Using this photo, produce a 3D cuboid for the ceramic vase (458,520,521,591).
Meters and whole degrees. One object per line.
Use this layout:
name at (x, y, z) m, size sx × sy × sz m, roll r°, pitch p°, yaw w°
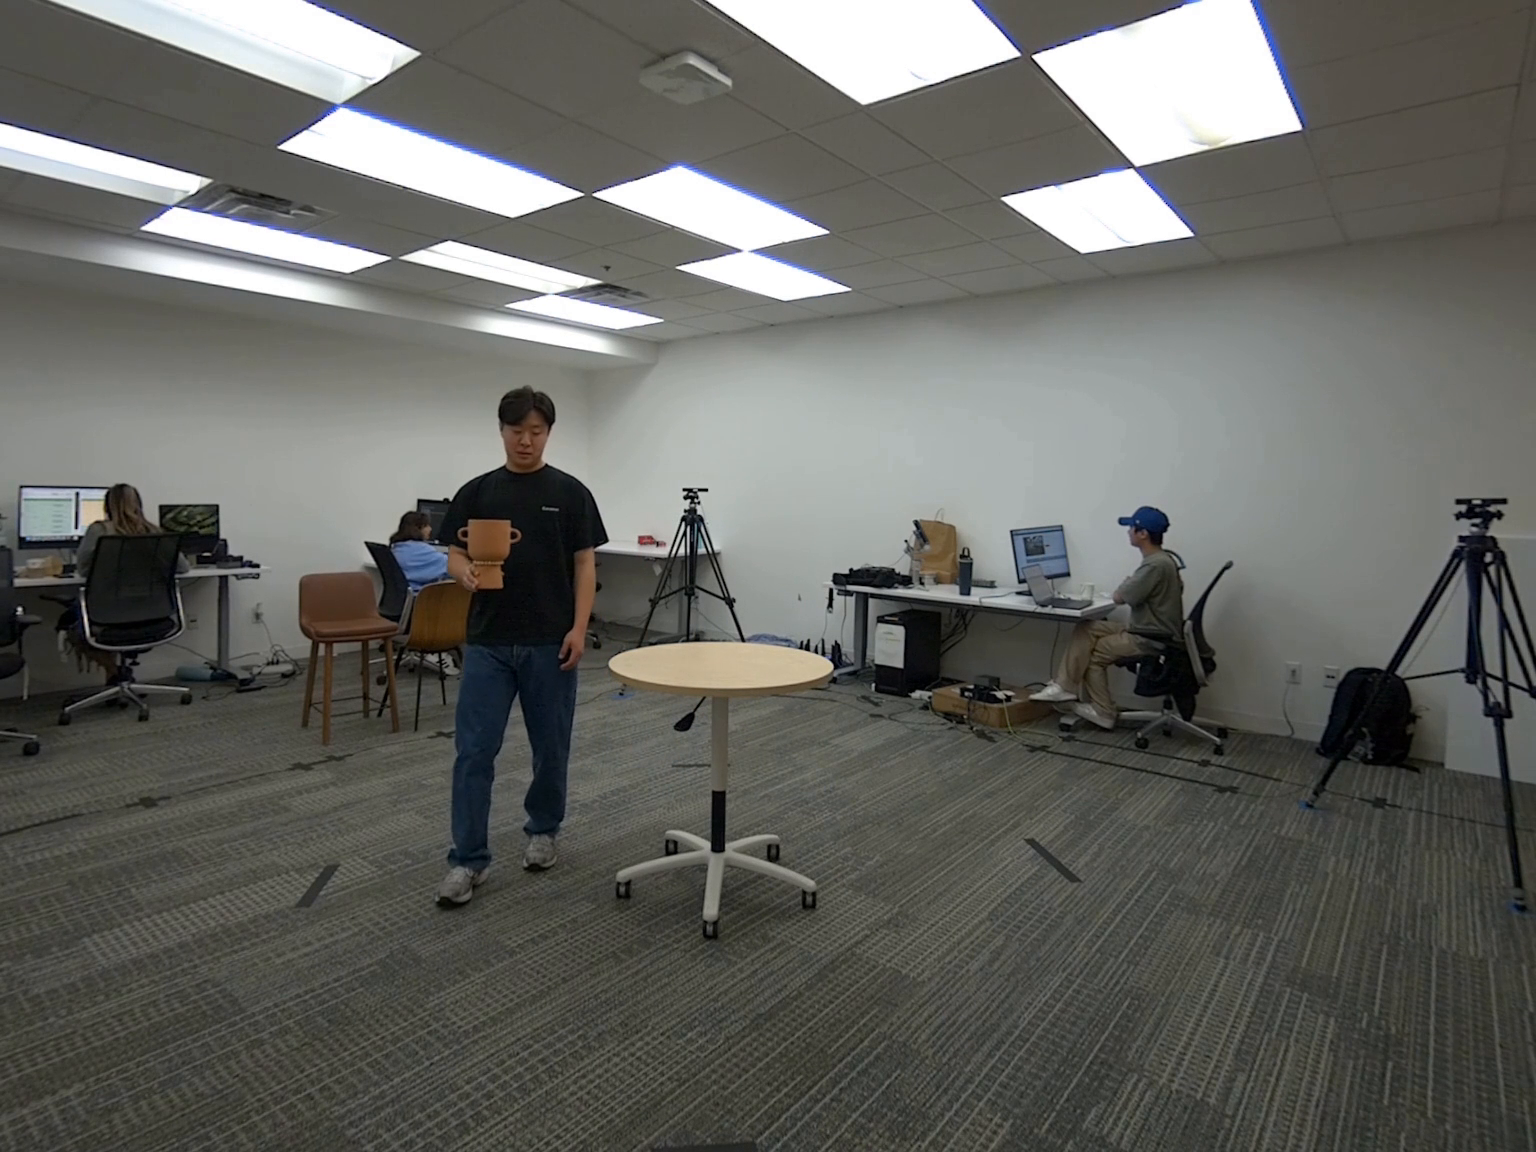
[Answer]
ceramic vase at (-0.935, -0.076, 2.775) m, size 0.163 × 0.219 × 0.131 m, roll 3°, pitch 2°, yaw 26°
